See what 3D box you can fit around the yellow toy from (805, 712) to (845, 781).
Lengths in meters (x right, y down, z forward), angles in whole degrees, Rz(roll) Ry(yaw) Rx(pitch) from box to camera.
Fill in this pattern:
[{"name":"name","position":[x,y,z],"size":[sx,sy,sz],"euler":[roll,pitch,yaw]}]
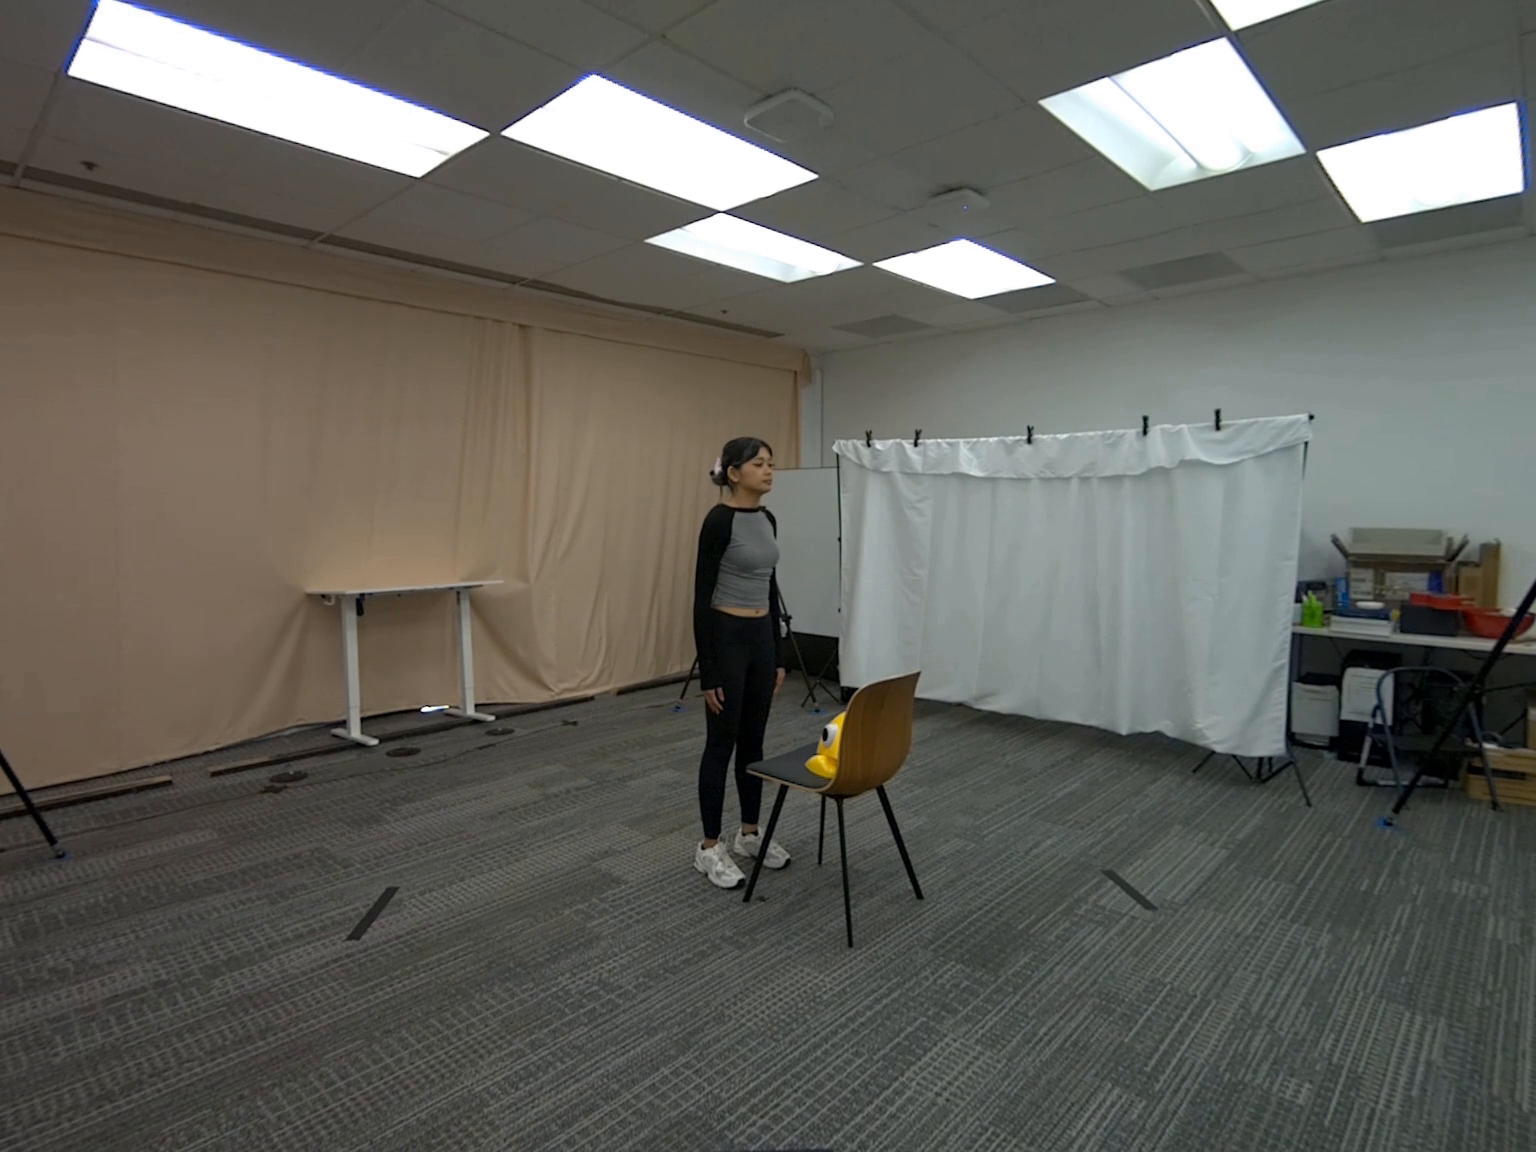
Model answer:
[{"name":"yellow toy","position":[0.254,0.562,2.924],"size":[0.198,0.230,0.200],"euler":[-5,11,-45]}]
